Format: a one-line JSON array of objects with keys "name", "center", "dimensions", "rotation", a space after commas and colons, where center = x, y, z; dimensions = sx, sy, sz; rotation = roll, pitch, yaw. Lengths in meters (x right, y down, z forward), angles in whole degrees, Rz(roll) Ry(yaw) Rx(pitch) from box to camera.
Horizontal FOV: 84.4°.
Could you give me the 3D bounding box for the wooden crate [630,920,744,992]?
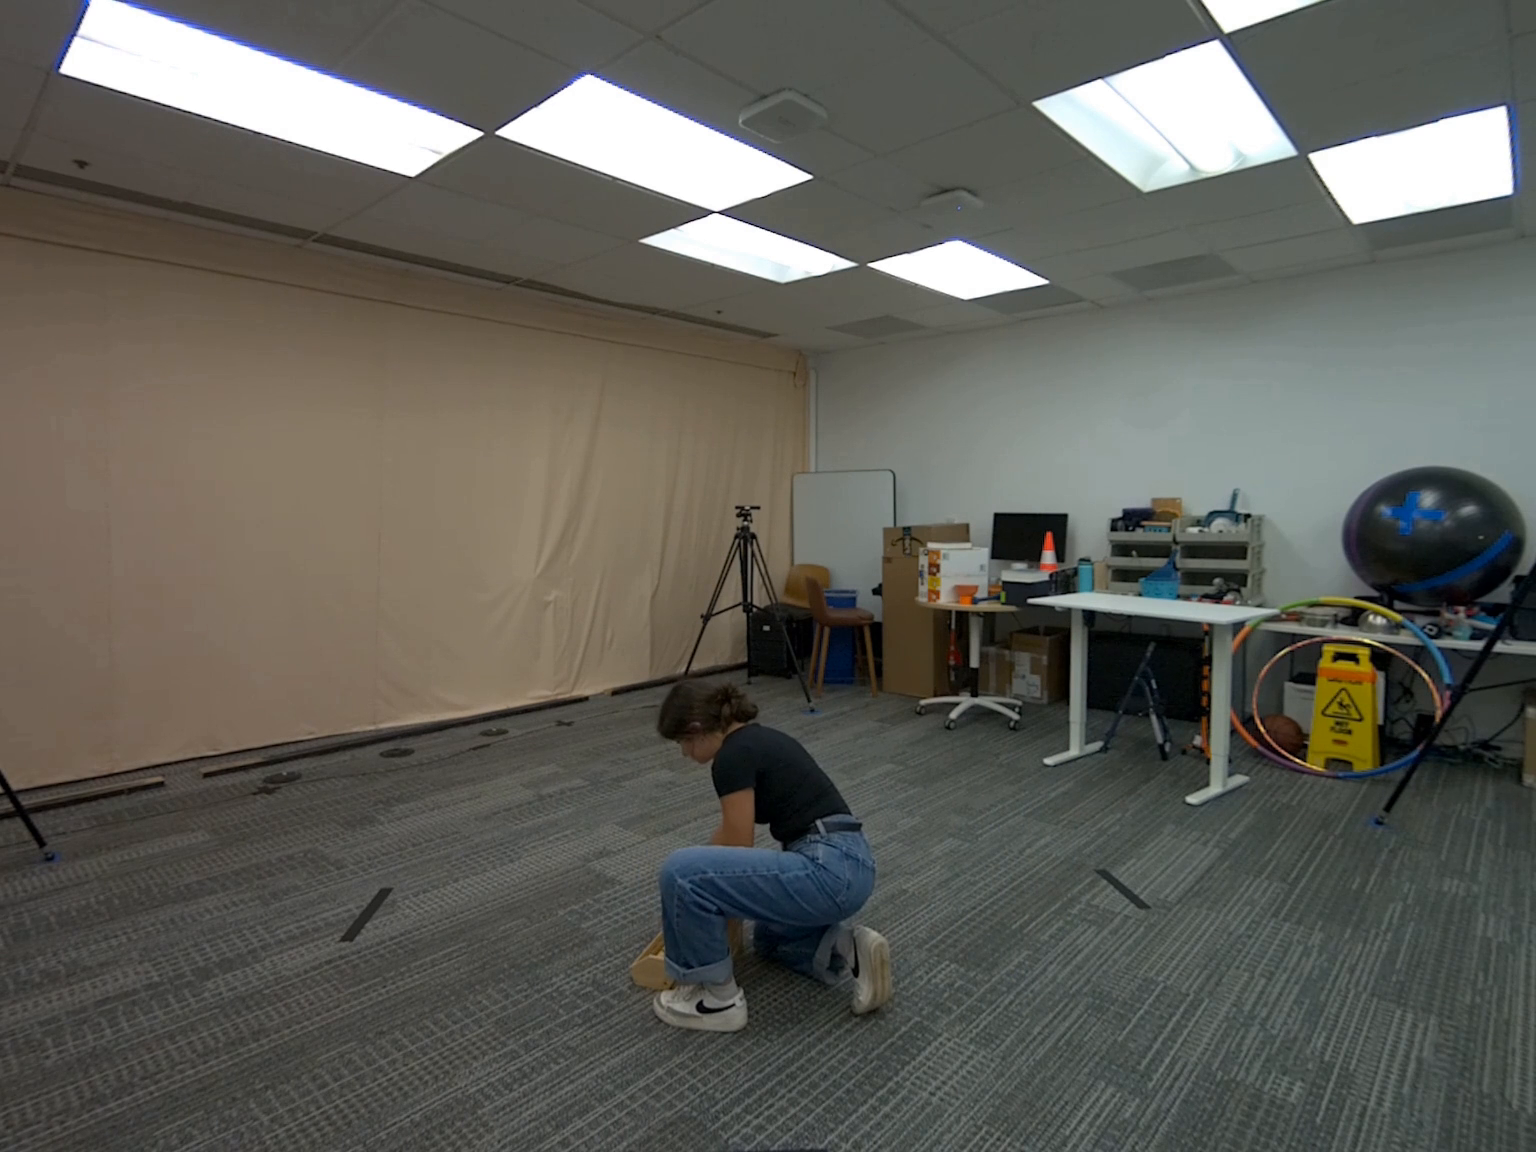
[{"name": "wooden crate", "center": [-0.218, 1.053, 2.536], "dimensions": [0.308, 0.272, 0.319], "rotation": [3, 5, 18]}]
